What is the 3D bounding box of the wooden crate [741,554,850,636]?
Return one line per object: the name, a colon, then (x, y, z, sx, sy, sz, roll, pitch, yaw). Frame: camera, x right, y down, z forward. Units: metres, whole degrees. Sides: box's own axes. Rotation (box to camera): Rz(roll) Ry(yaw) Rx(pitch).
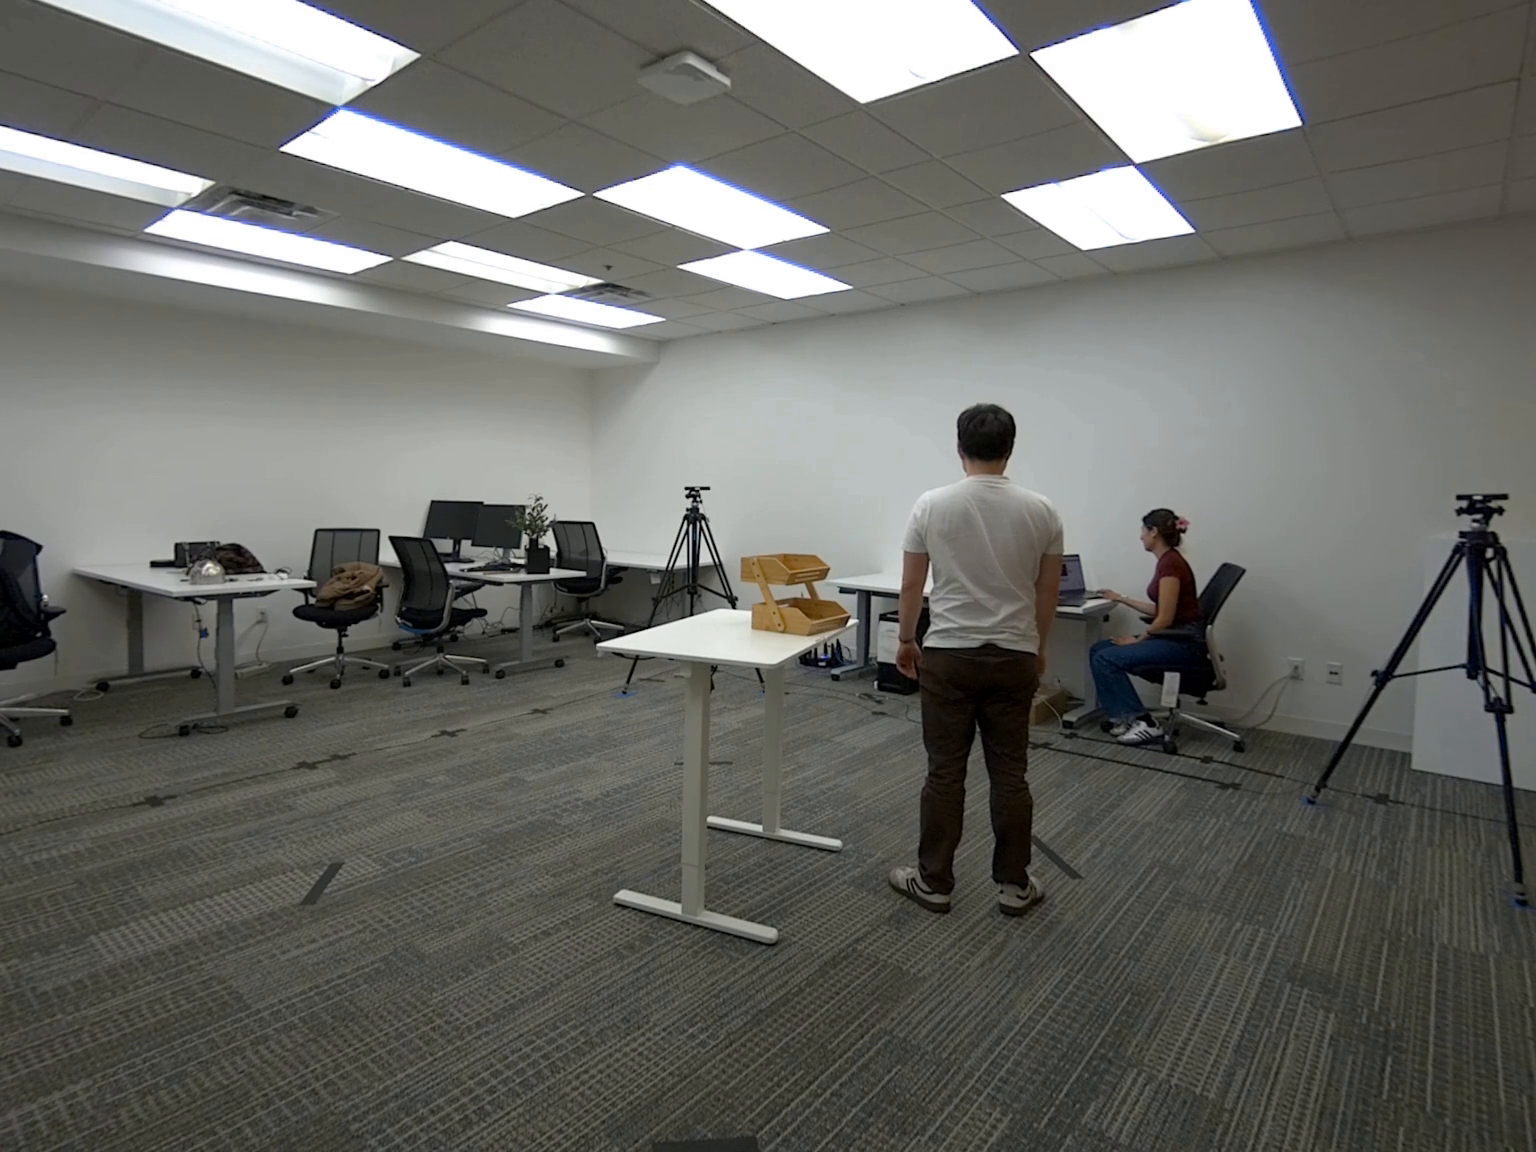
wooden crate: (0.099, 0.054, 3.137, 0.311, 0.272, 0.315, 3, 4, 33)
